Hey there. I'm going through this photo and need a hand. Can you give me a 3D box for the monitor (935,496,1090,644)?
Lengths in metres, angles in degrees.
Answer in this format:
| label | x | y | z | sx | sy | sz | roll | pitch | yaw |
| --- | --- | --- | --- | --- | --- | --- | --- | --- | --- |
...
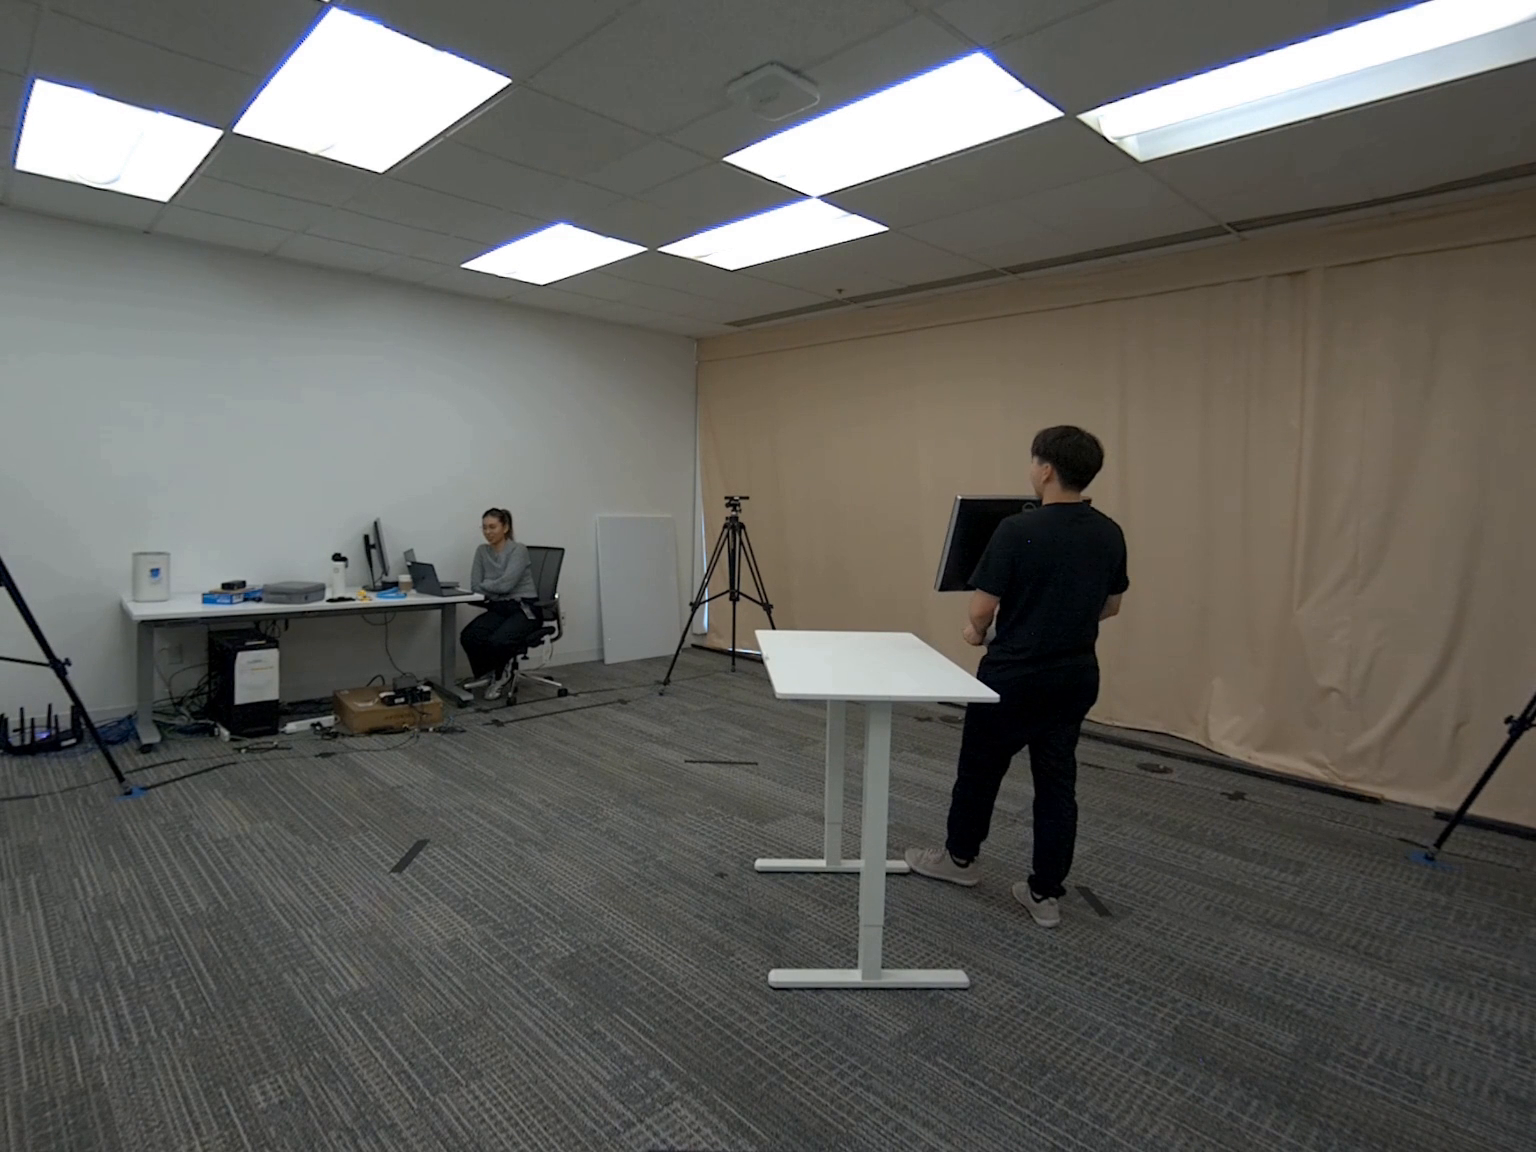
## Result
| label | x | y | z | sx | sy | sz | roll | pitch | yaw |
| --- | --- | --- | --- | --- | --- | --- | --- | --- | --- |
| monitor | 0.884 | -0.022 | 3.026 | 0.531 | 0.518 | 0.191 | -2 | 13 | -21 |
